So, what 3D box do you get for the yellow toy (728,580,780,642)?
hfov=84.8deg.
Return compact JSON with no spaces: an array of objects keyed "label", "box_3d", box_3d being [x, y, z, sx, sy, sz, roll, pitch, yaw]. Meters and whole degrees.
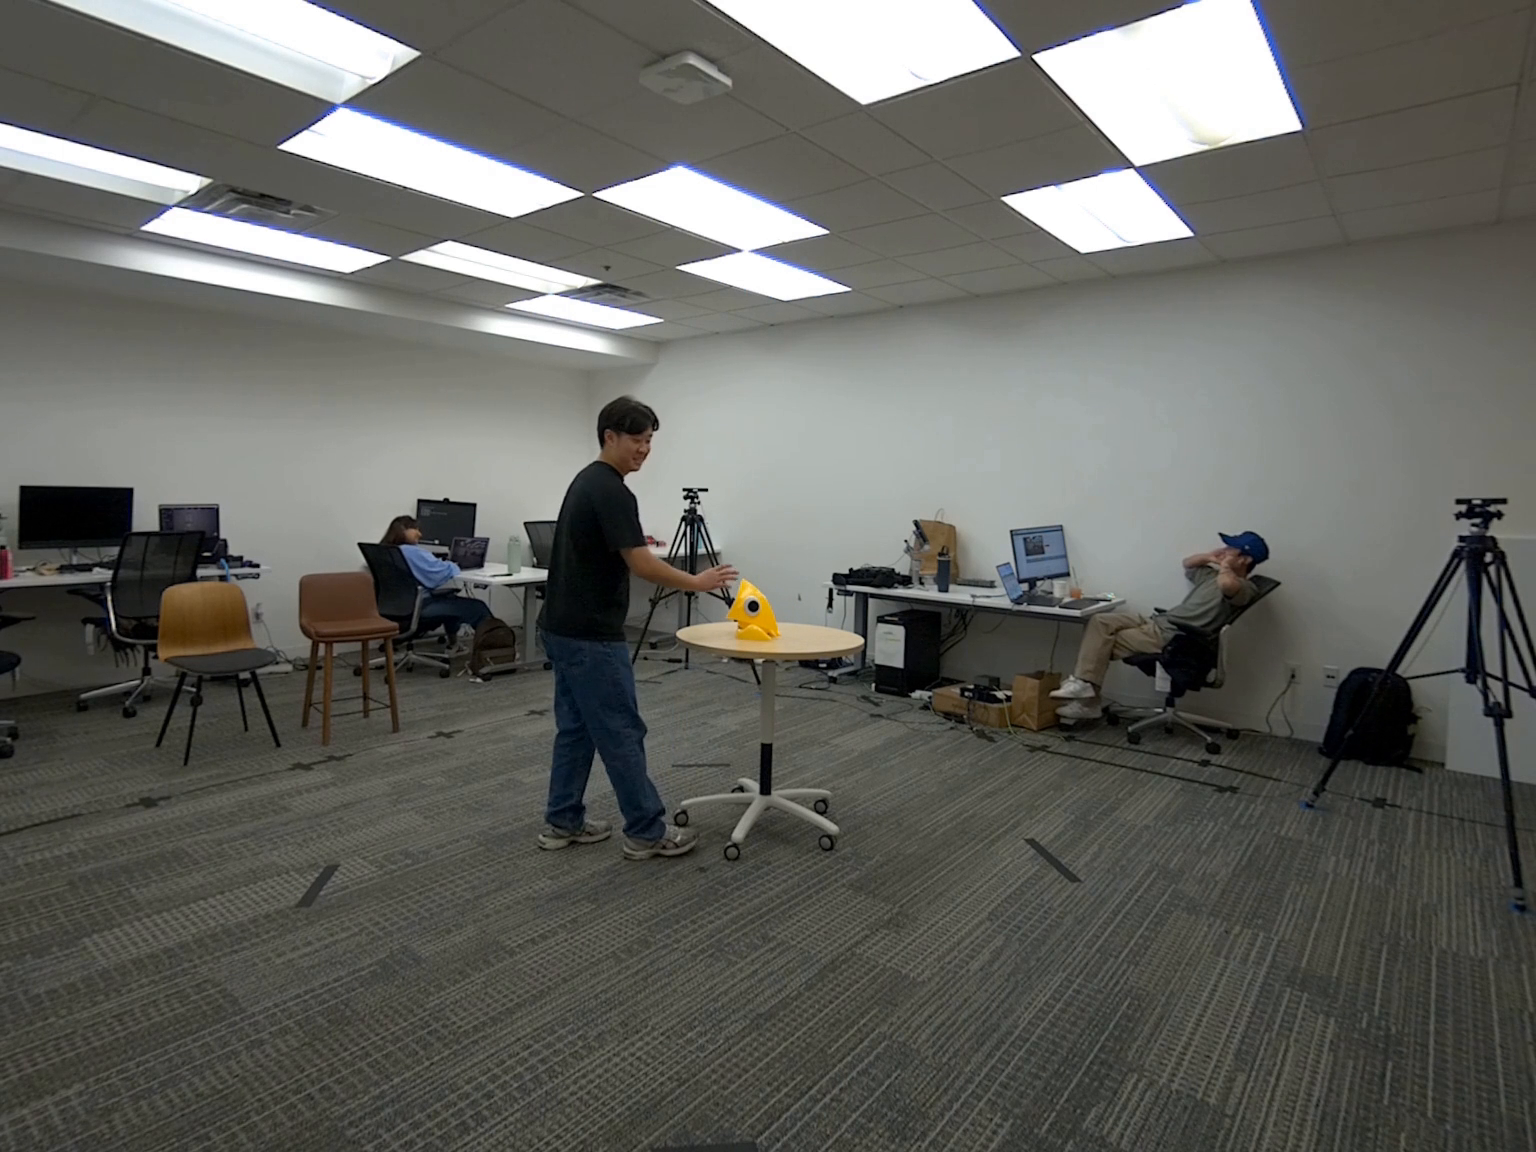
[{"label":"yellow toy","box_3d":[-0.060,0.130,3.455,0.197,0.230,0.201,2,3,21]}]
